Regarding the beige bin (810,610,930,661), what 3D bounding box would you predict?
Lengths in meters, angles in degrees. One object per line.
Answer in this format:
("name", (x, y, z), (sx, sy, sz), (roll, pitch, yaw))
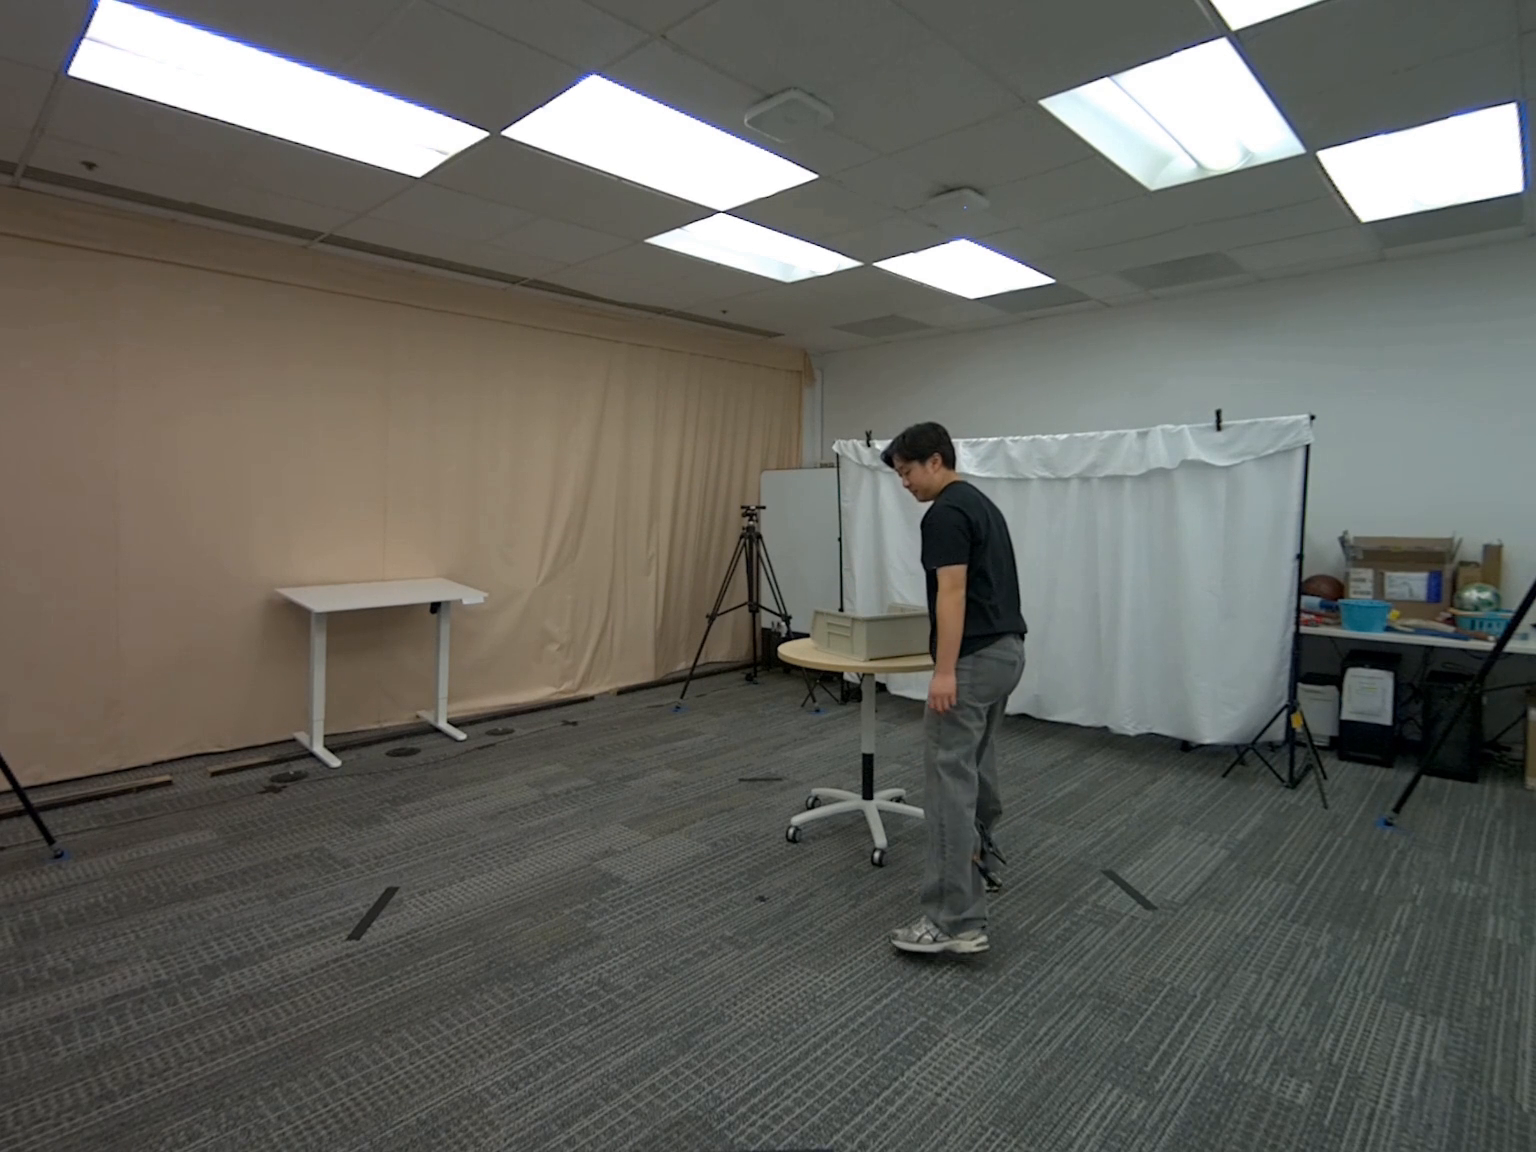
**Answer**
("beige bin", (0.454, 0.226, 3.520), (0.411, 0.188, 0.388), (-3, 6, -29))
